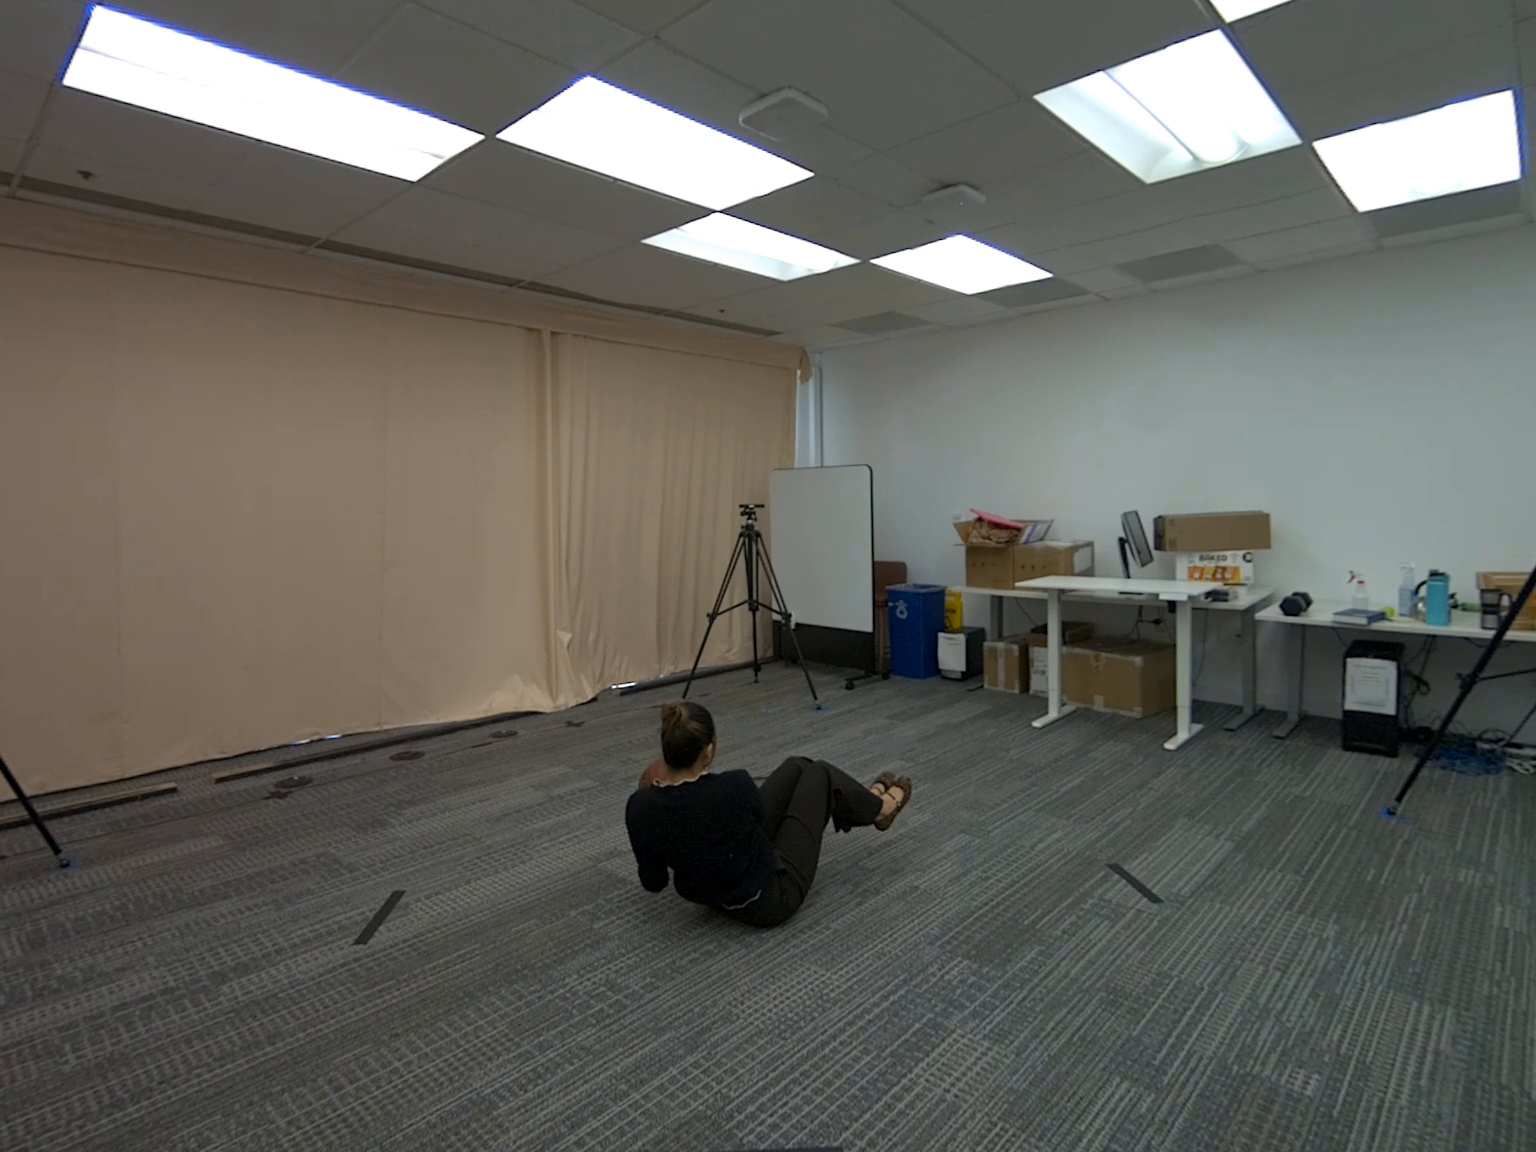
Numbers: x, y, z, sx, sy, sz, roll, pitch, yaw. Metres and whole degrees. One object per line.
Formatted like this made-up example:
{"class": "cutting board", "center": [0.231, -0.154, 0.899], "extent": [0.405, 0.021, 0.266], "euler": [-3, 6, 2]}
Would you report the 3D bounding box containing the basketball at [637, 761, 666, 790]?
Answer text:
{"class": "basketball", "center": [-0.354, 0.798, 3.162], "extent": [0.236, 0.235, 0.237], "euler": [-1, 4, -2]}
